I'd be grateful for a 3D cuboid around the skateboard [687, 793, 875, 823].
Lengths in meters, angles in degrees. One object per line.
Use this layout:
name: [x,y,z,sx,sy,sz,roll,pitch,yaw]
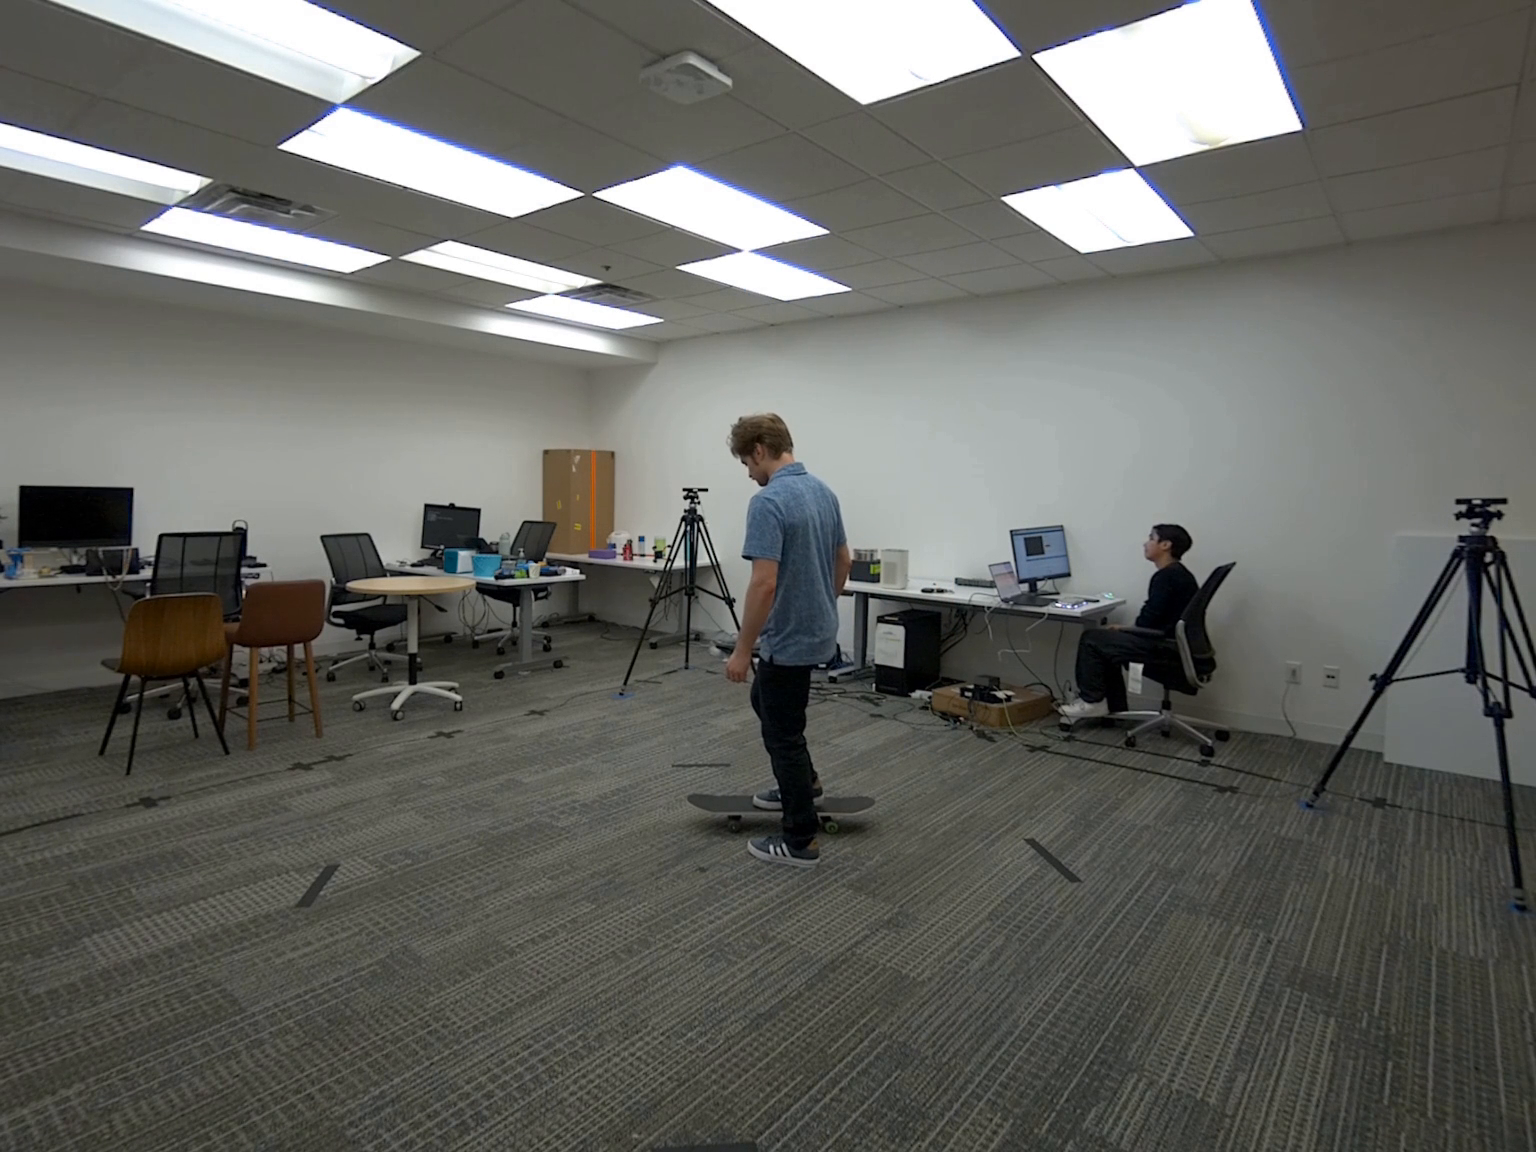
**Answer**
skateboard: [0.044,0.976,3.534,0.785,0.110,0.194,1,6,-1]
